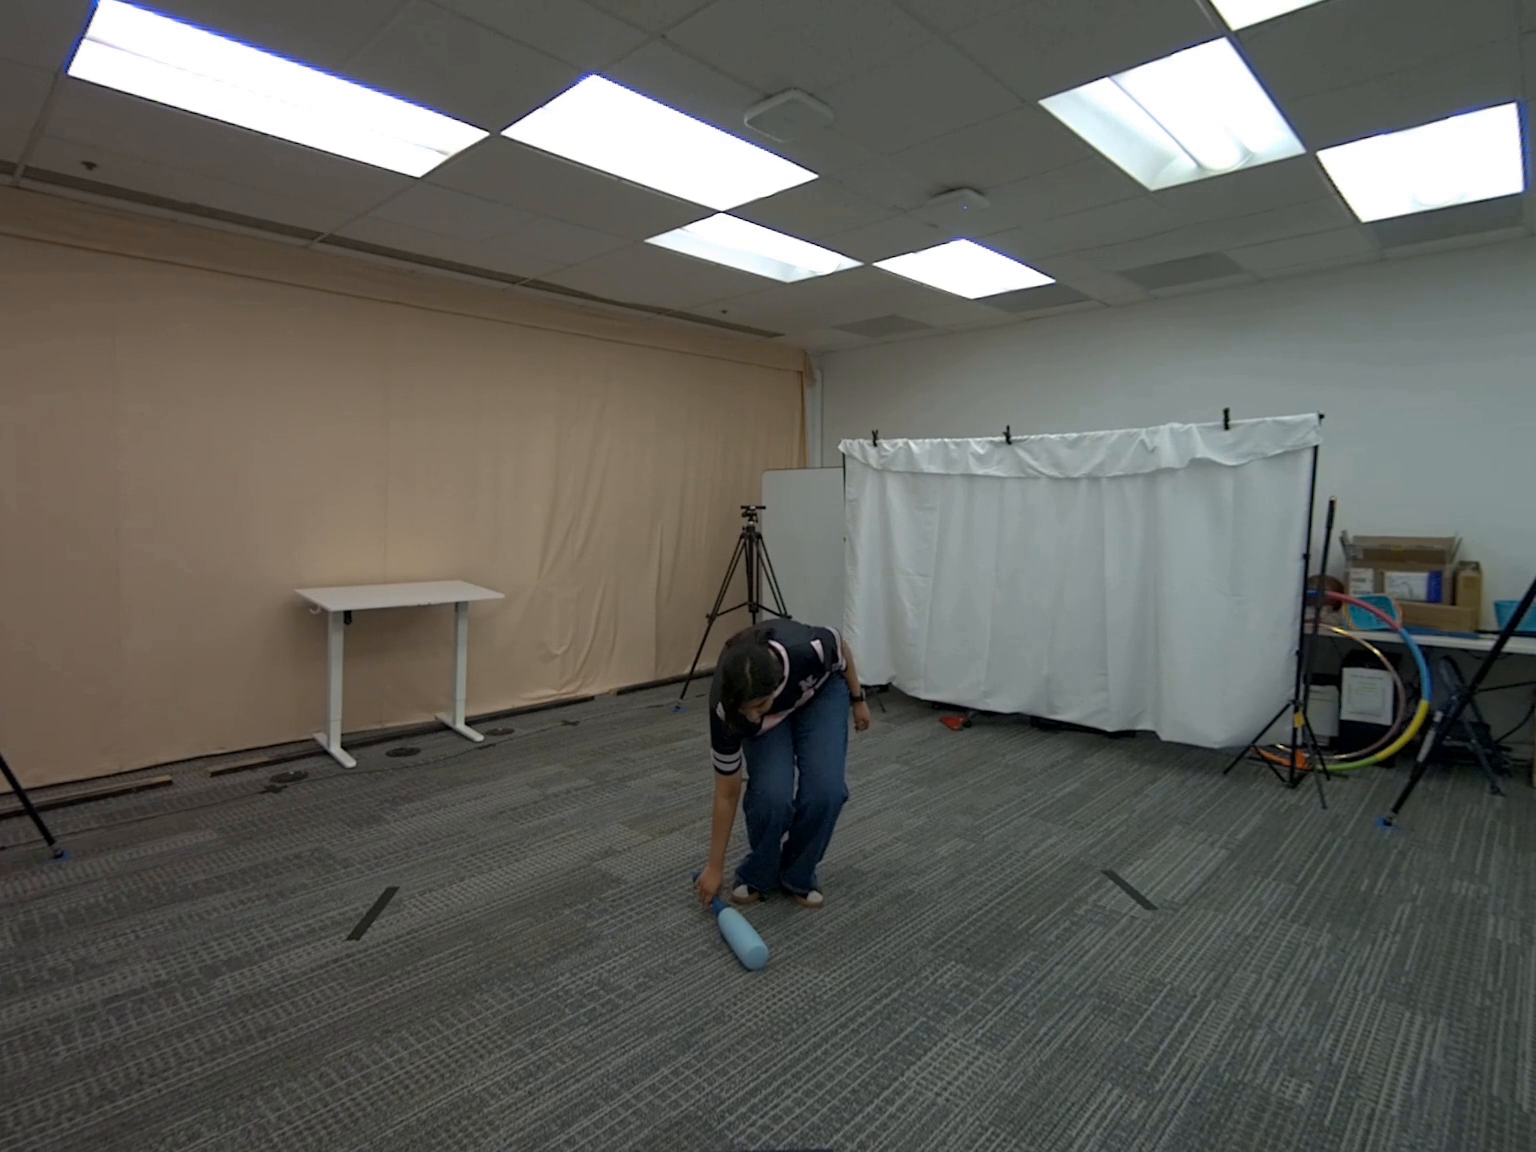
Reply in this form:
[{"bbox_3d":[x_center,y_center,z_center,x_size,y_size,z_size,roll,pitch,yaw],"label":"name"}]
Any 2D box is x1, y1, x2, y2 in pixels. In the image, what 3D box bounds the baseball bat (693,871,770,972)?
[{"bbox_3d":[-0.126,1.114,2.750,0.087,0.089,0.556,-1,6,-22],"label":"baseball bat"}]
